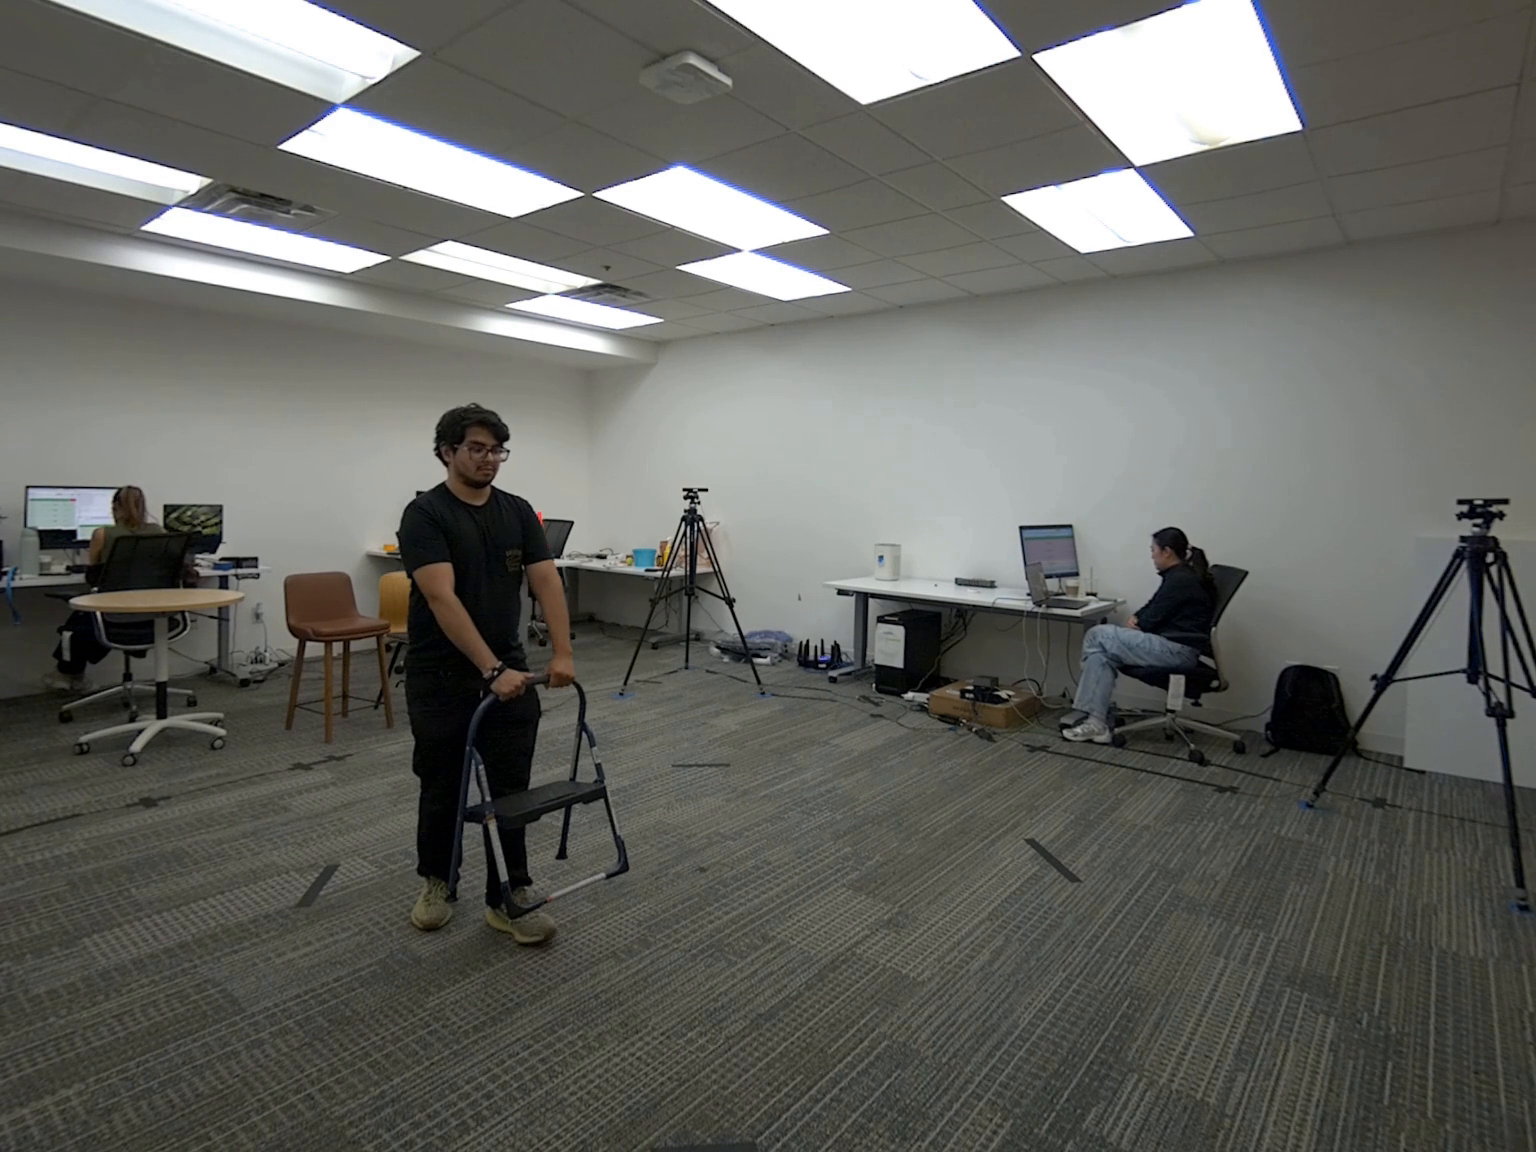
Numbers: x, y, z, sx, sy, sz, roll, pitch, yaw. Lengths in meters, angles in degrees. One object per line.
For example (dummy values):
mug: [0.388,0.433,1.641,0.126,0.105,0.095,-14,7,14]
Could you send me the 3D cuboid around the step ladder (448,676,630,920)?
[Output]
step ladder: [-0.711,0.610,2.501,0.358,0.609,0.418,-10,-4,40]
